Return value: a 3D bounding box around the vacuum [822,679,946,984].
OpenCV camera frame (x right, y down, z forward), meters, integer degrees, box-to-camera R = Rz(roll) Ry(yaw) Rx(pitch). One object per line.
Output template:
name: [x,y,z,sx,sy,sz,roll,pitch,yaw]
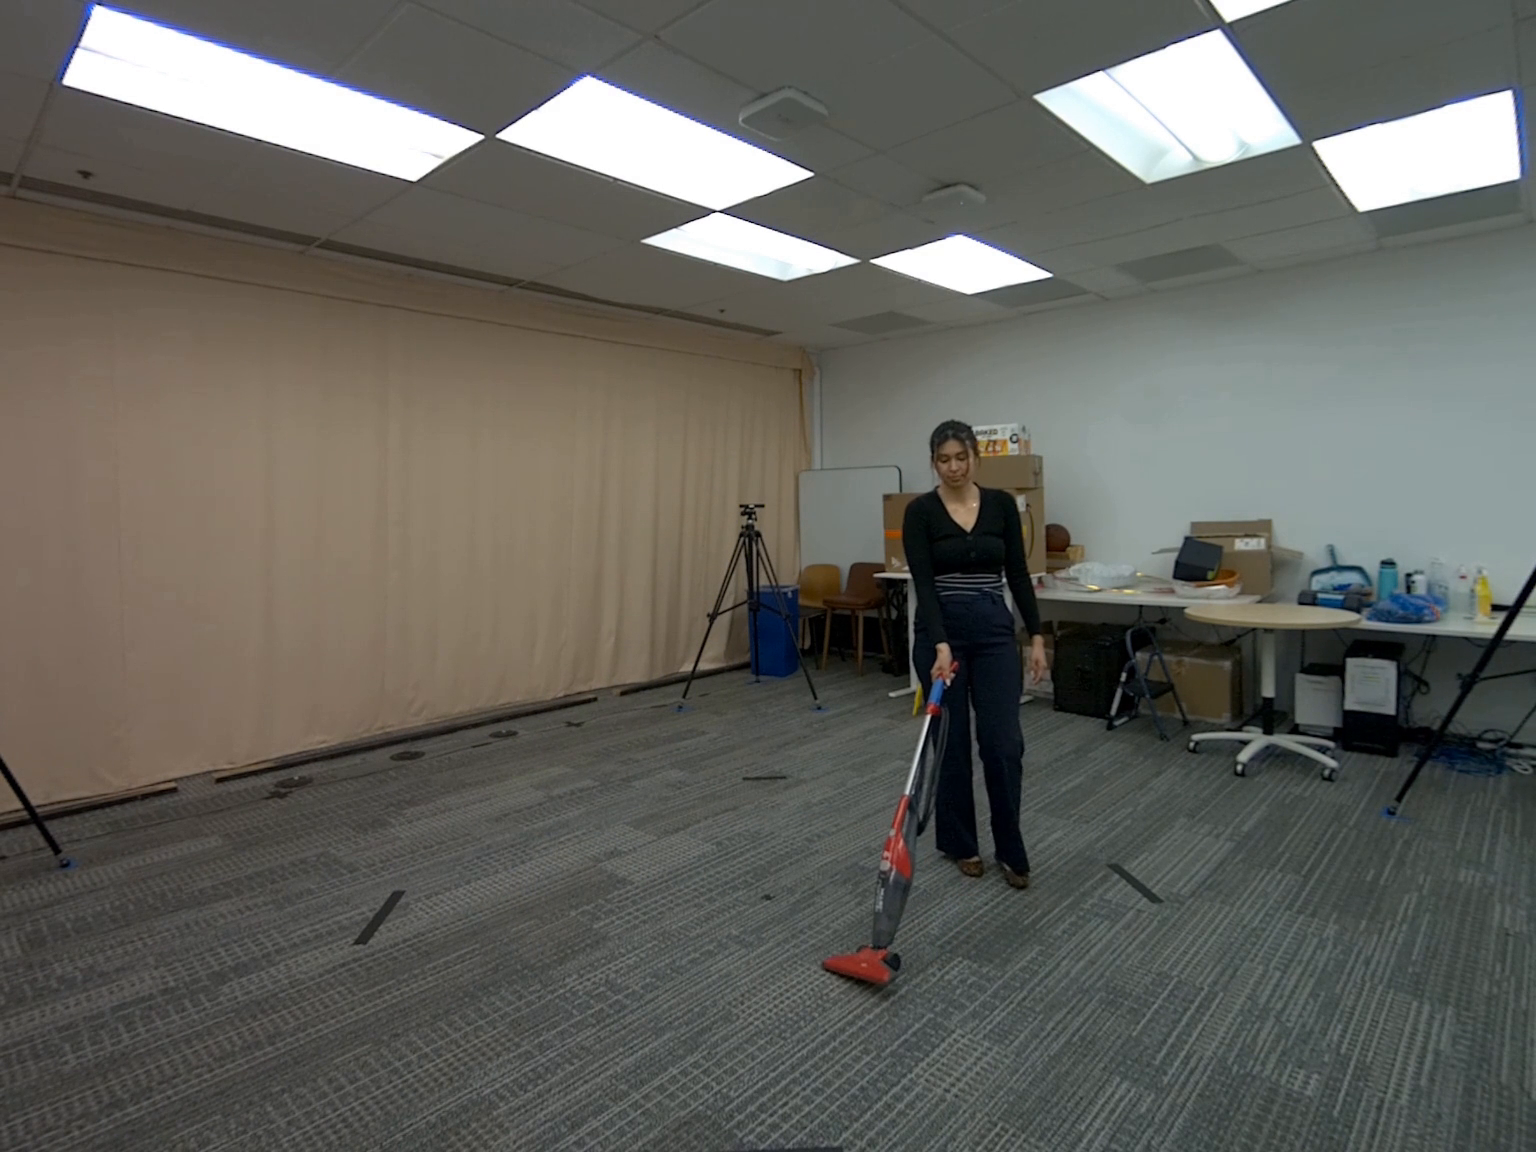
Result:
vacuum: [0.477,0.748,2.722,0.260,1.052,0.139,-4,-40,40]
